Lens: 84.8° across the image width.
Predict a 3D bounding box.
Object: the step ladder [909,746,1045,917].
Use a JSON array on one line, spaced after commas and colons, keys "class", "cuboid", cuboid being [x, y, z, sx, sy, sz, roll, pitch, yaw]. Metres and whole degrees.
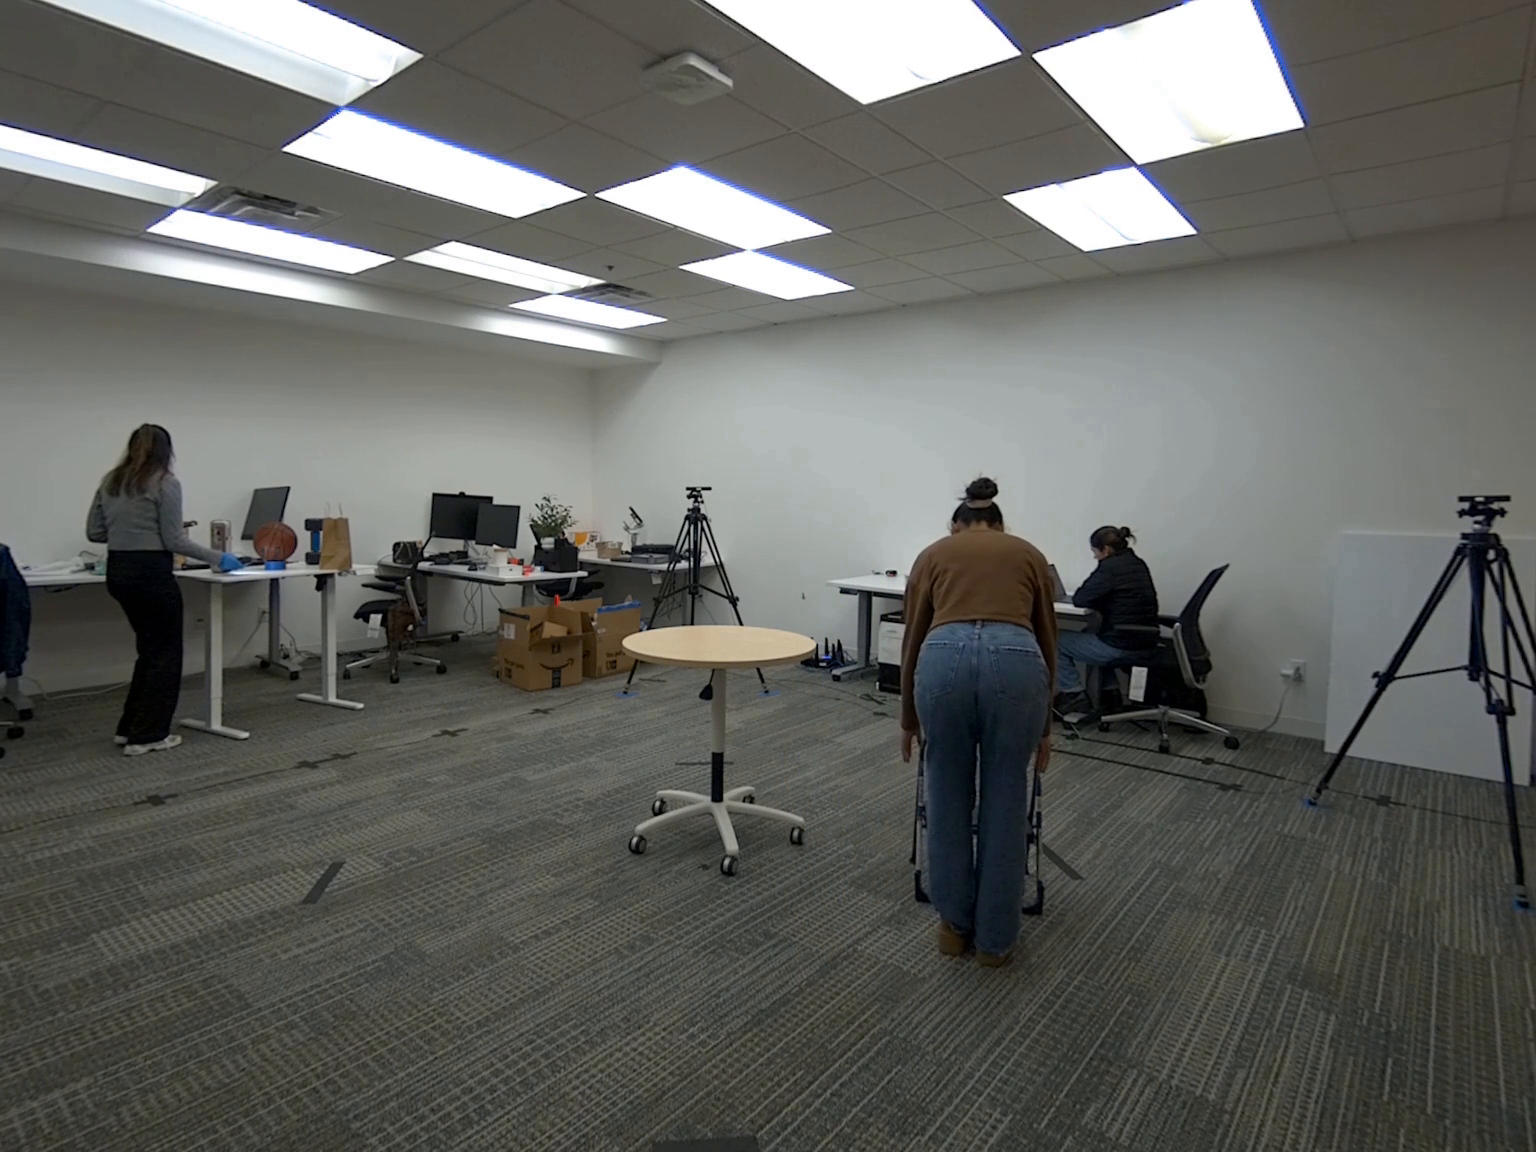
[{"class": "step ladder", "cuboid": [0.724, 0.791, 3.000, 0.435, 0.604, 0.347, 2, 4, 9]}]
